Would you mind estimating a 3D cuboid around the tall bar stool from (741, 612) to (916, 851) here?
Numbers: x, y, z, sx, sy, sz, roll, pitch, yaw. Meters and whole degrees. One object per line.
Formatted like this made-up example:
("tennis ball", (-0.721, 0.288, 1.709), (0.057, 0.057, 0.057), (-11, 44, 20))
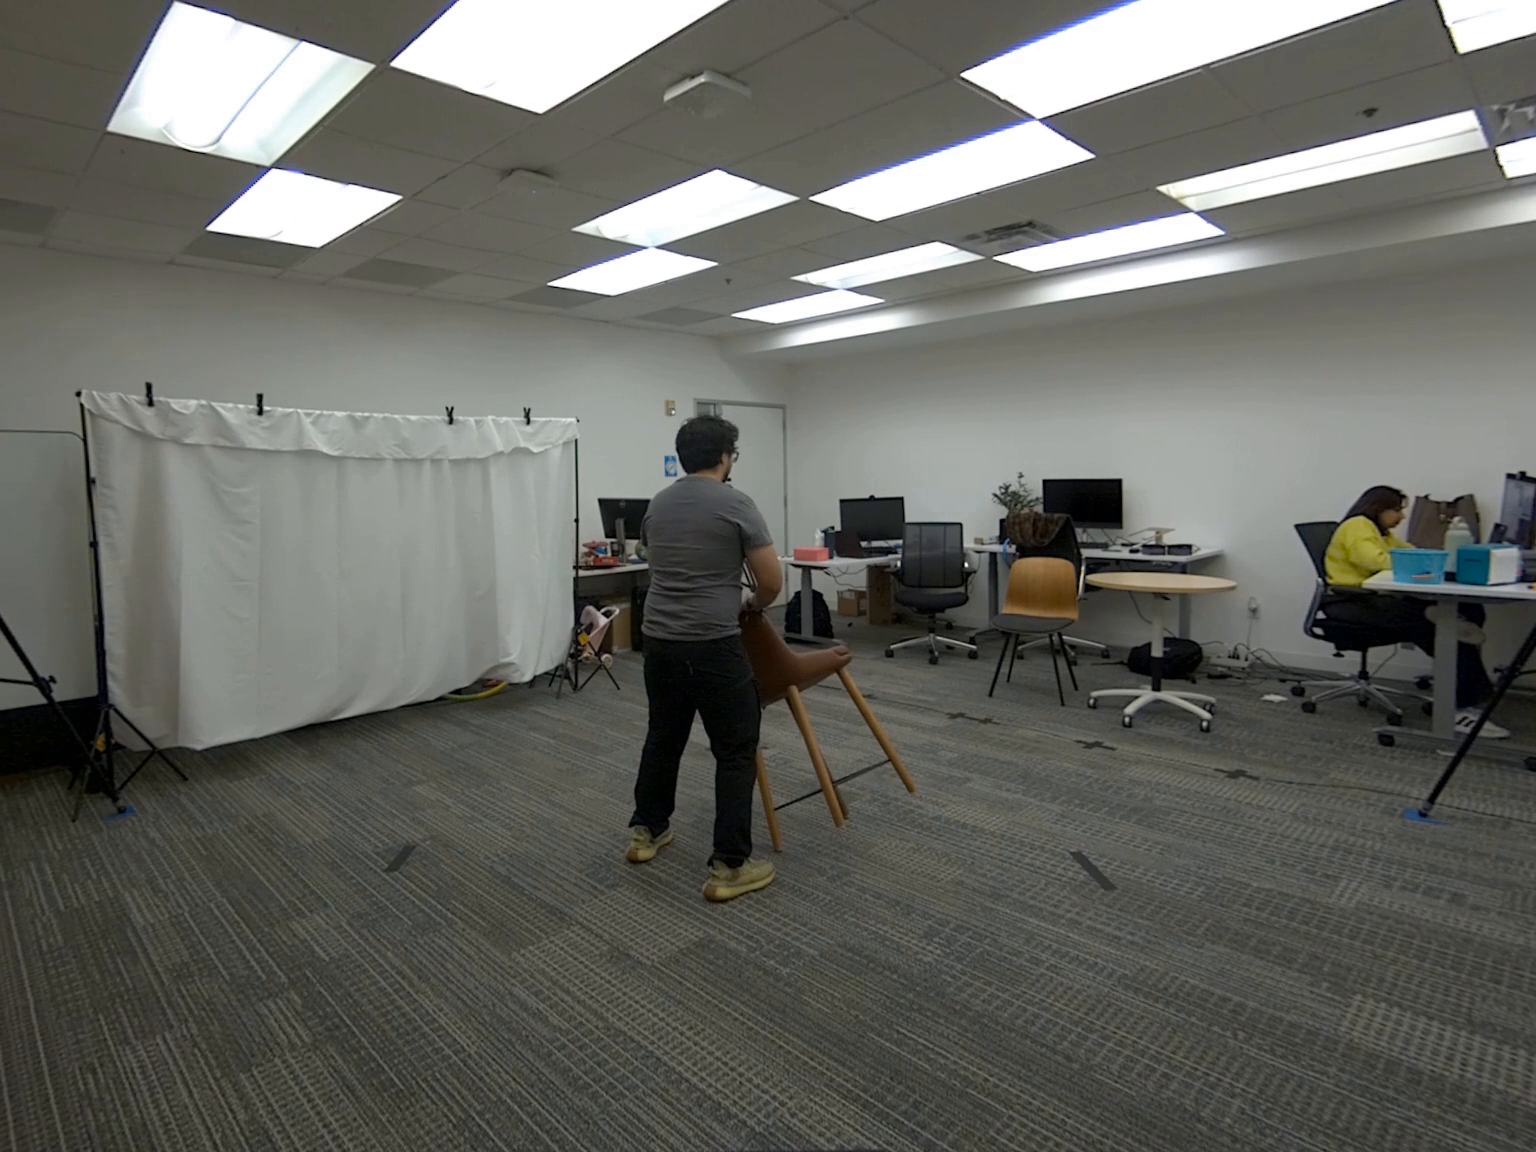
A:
("tall bar stool", (0.124, 0.541, 3.364), (0.456, 0.906, 0.459), (-10, -20, -44))
